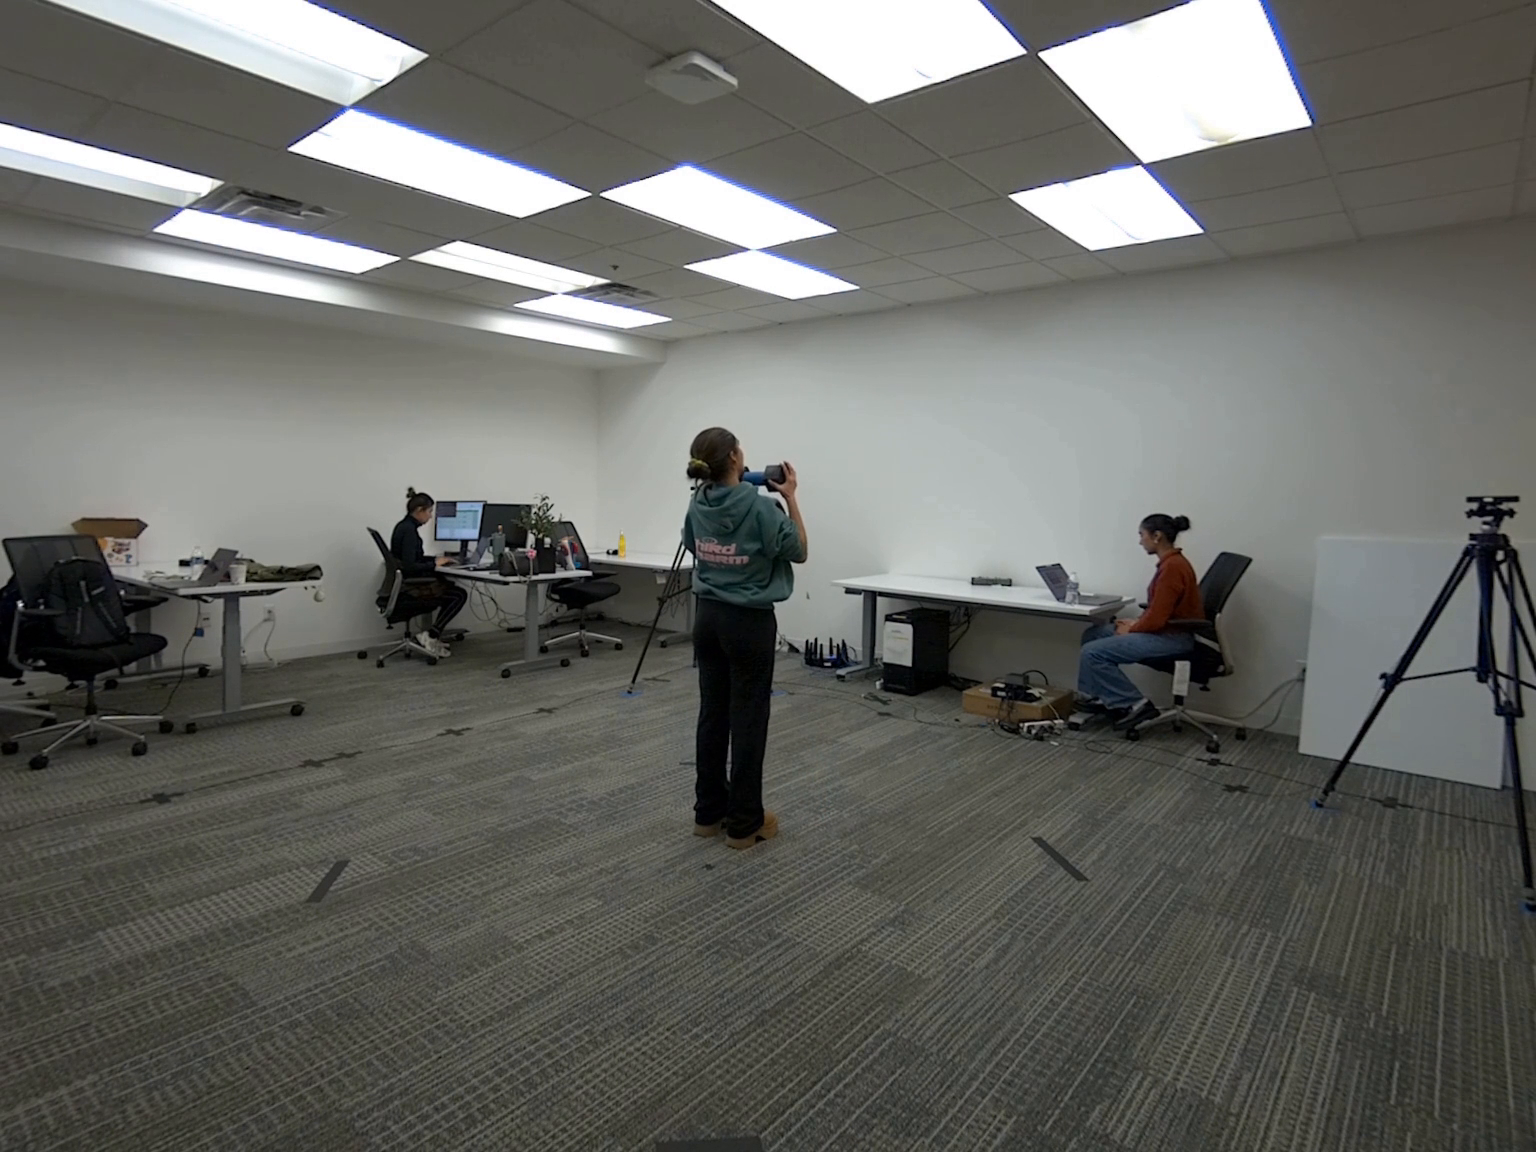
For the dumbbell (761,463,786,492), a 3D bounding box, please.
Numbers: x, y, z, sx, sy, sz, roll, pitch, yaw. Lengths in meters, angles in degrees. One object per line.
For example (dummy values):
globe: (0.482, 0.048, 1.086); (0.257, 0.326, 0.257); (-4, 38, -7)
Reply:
dumbbell: (-0.057, -0.400, 3.457); (0.303, 0.124, 0.104); (2, -23, 40)
